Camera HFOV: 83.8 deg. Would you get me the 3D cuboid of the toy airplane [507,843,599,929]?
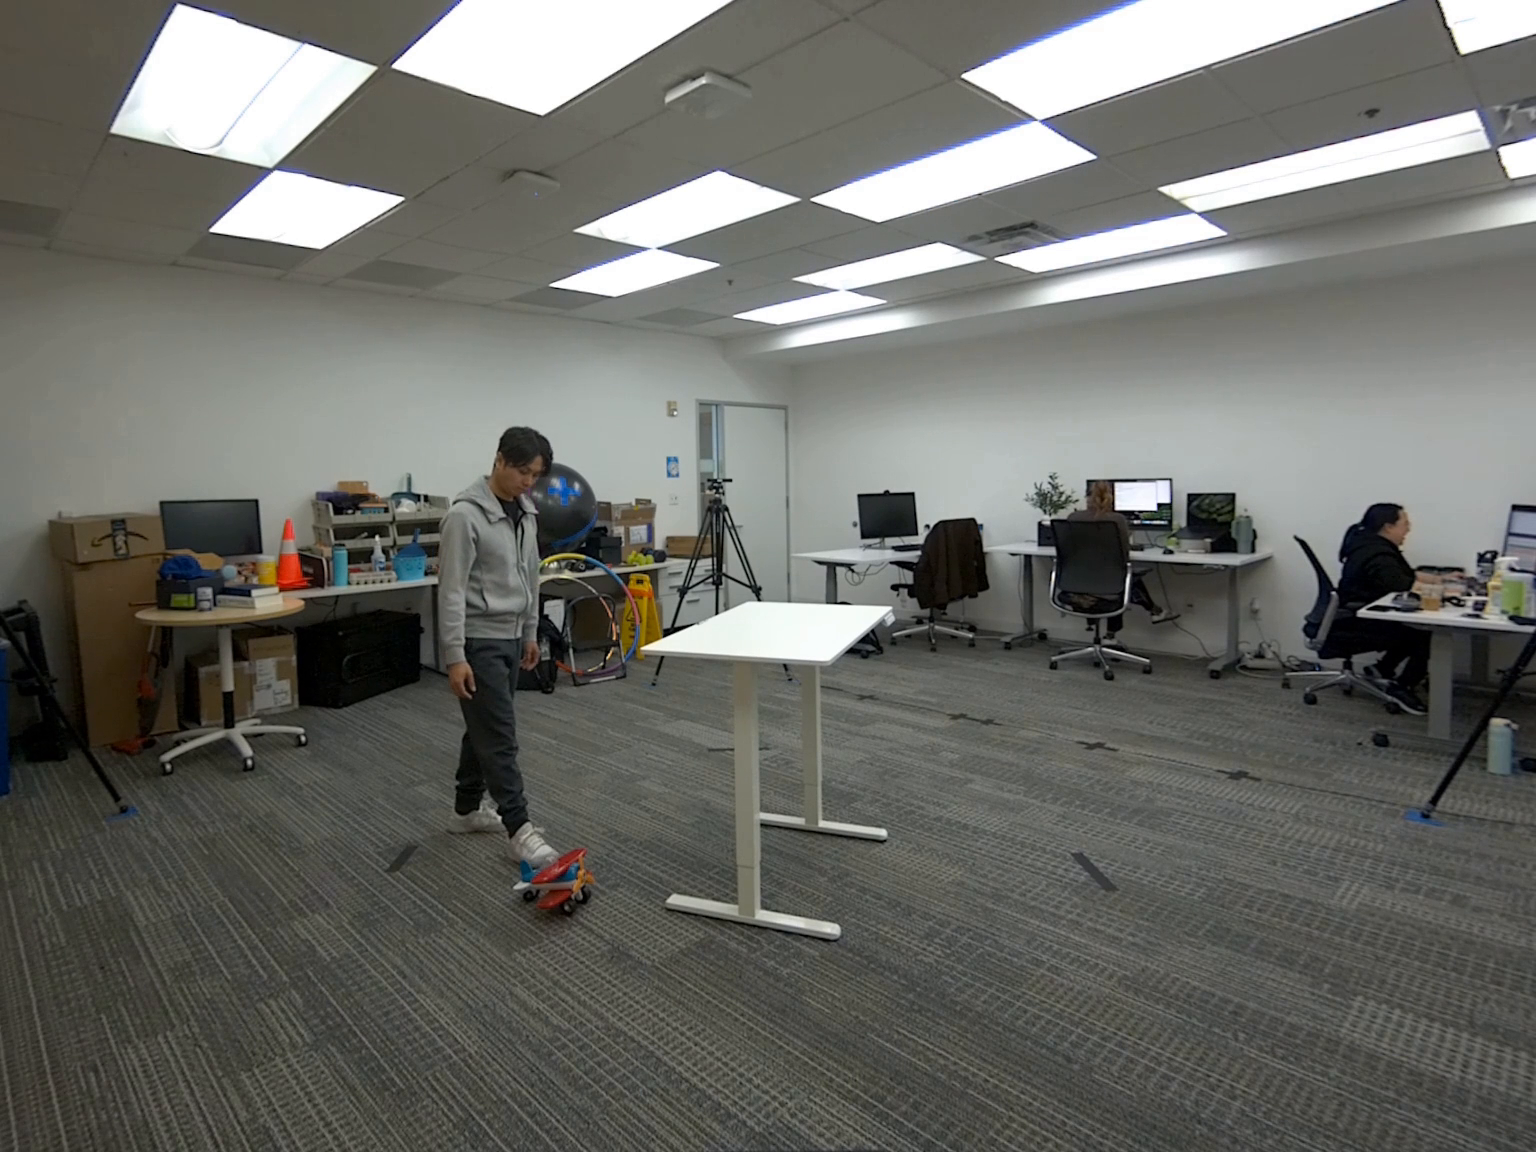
[{"bbox_3d":[-0.703,1.013,2.820,0.258,0.156,0.253,-1,6,-5],"label":"toy airplane"}]
